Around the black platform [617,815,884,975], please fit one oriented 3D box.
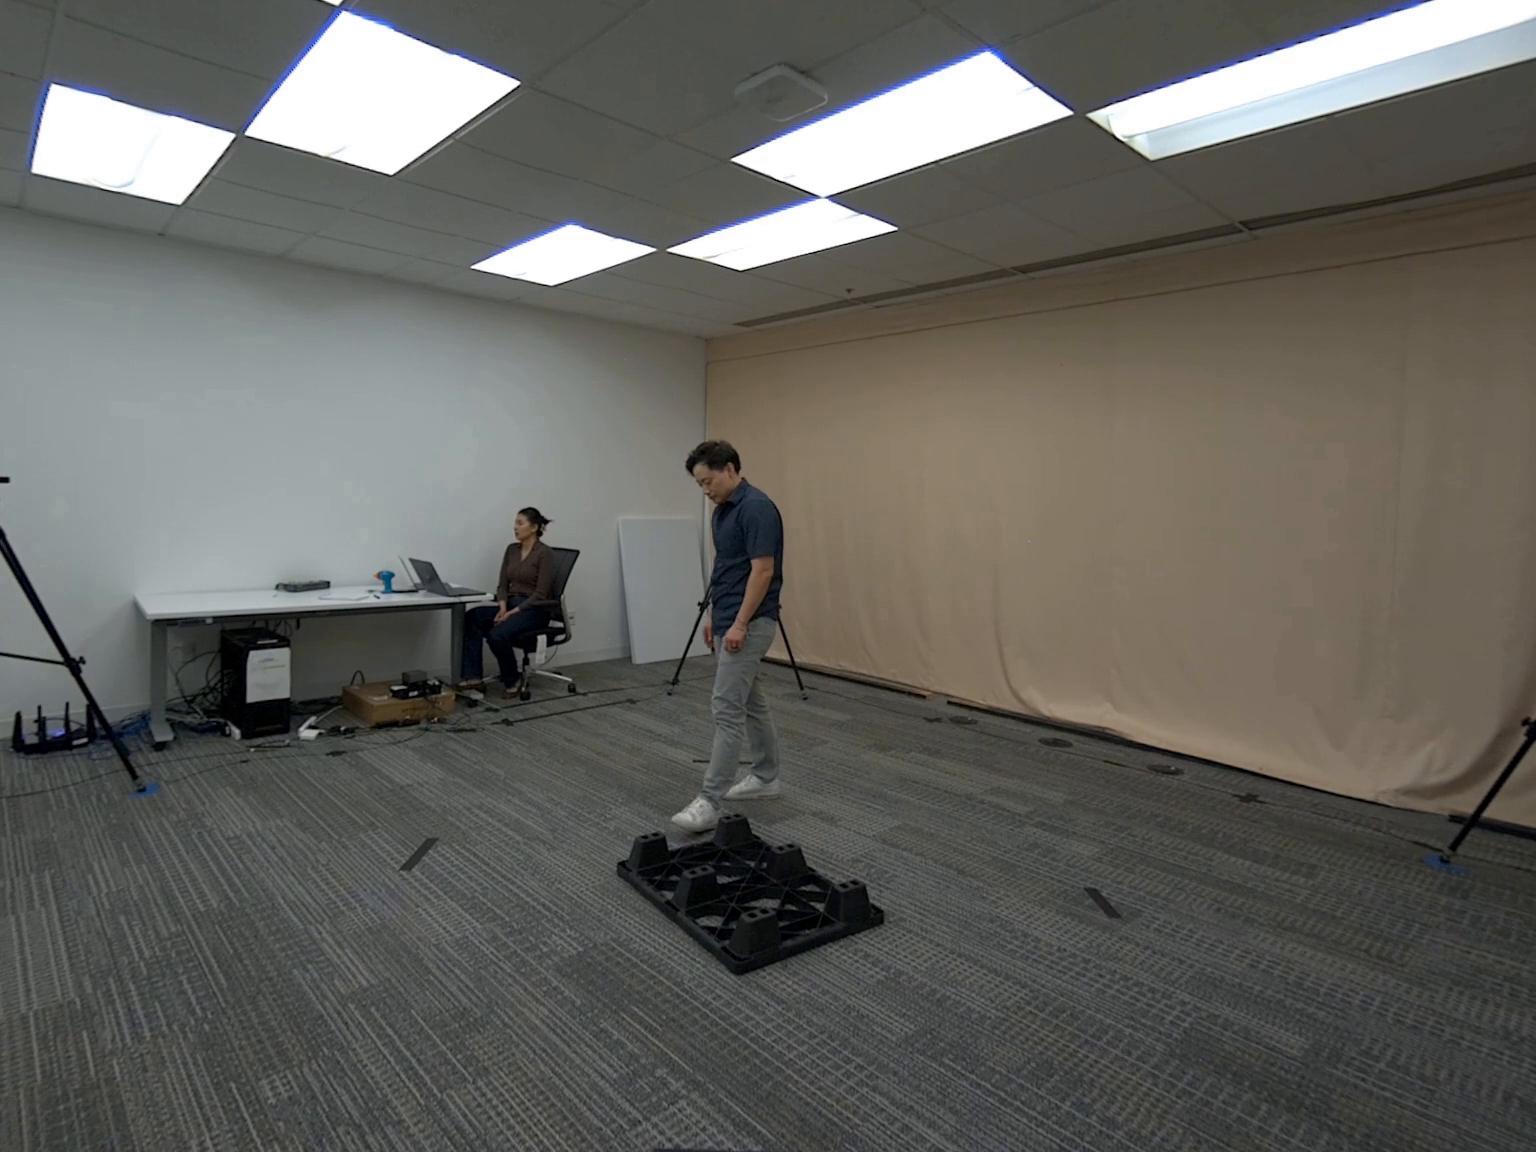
[{"bbox_3d":[-0.095,1.051,2.934,0.592,0.143,0.825,-2,6,-36],"label":"black platform"}]
